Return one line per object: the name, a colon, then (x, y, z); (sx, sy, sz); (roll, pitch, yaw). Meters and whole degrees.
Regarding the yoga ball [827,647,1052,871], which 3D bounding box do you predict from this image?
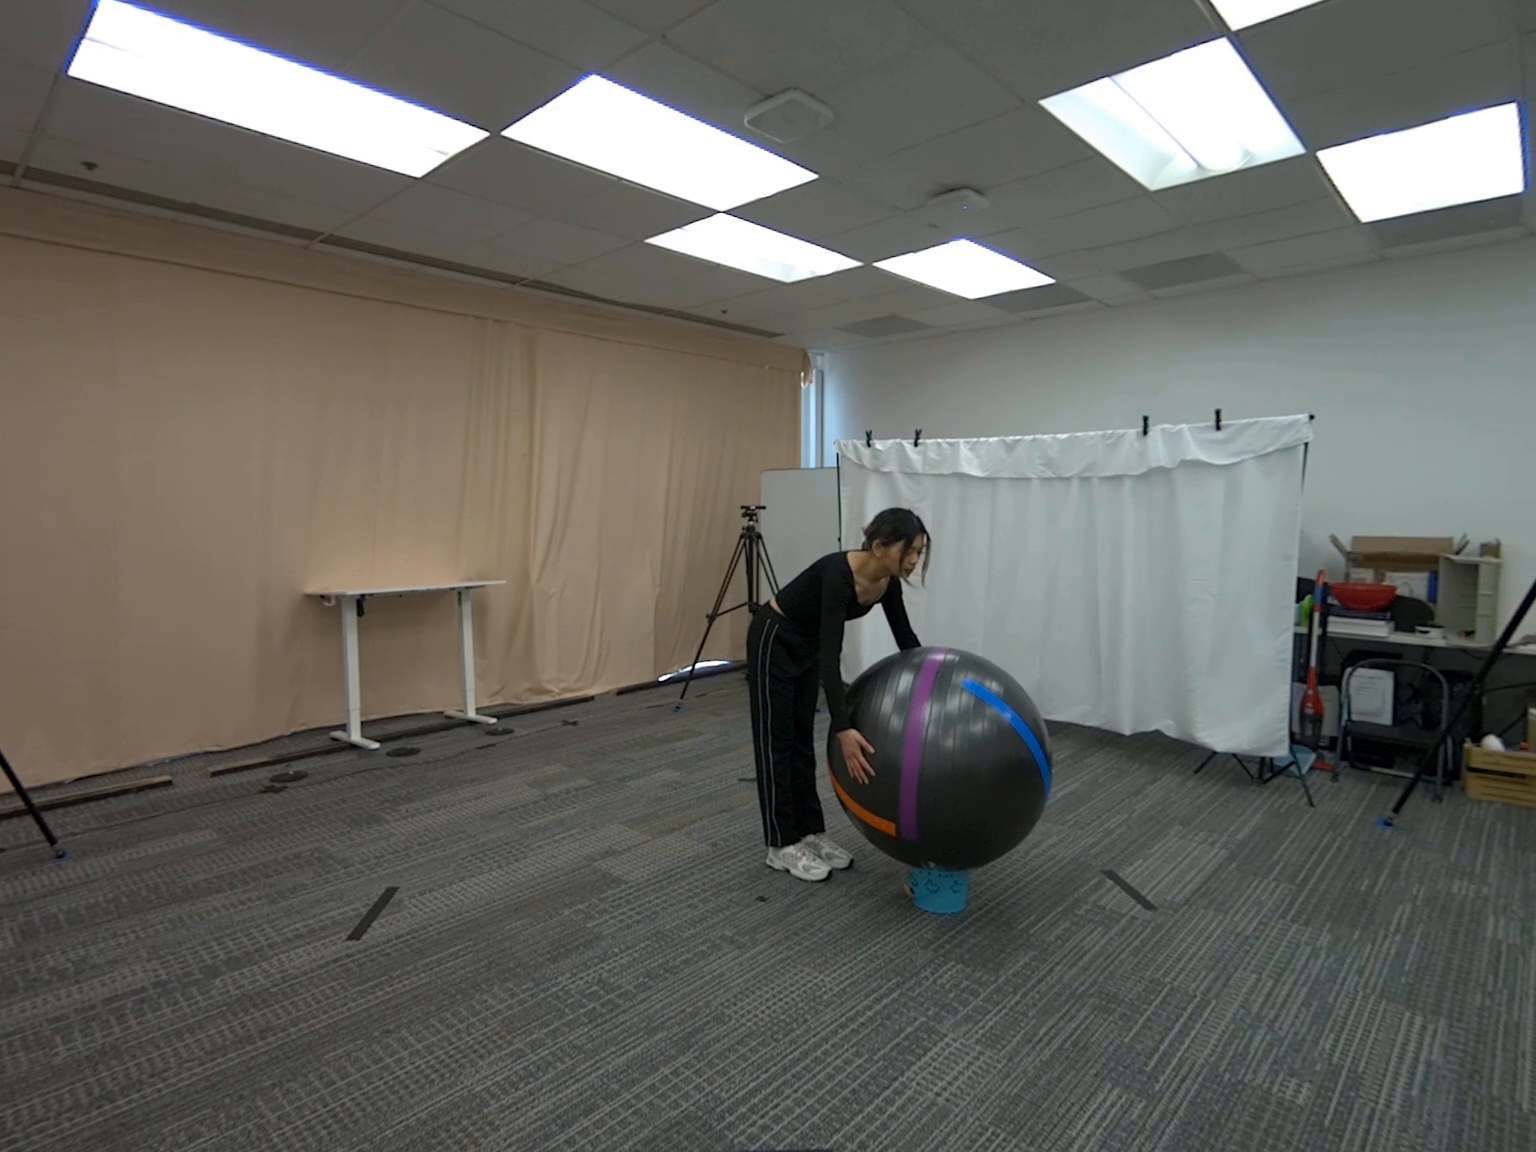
yoga ball: (0.596, 0.632, 2.942); (0.757, 0.756, 0.760); (0, 4, -2)
